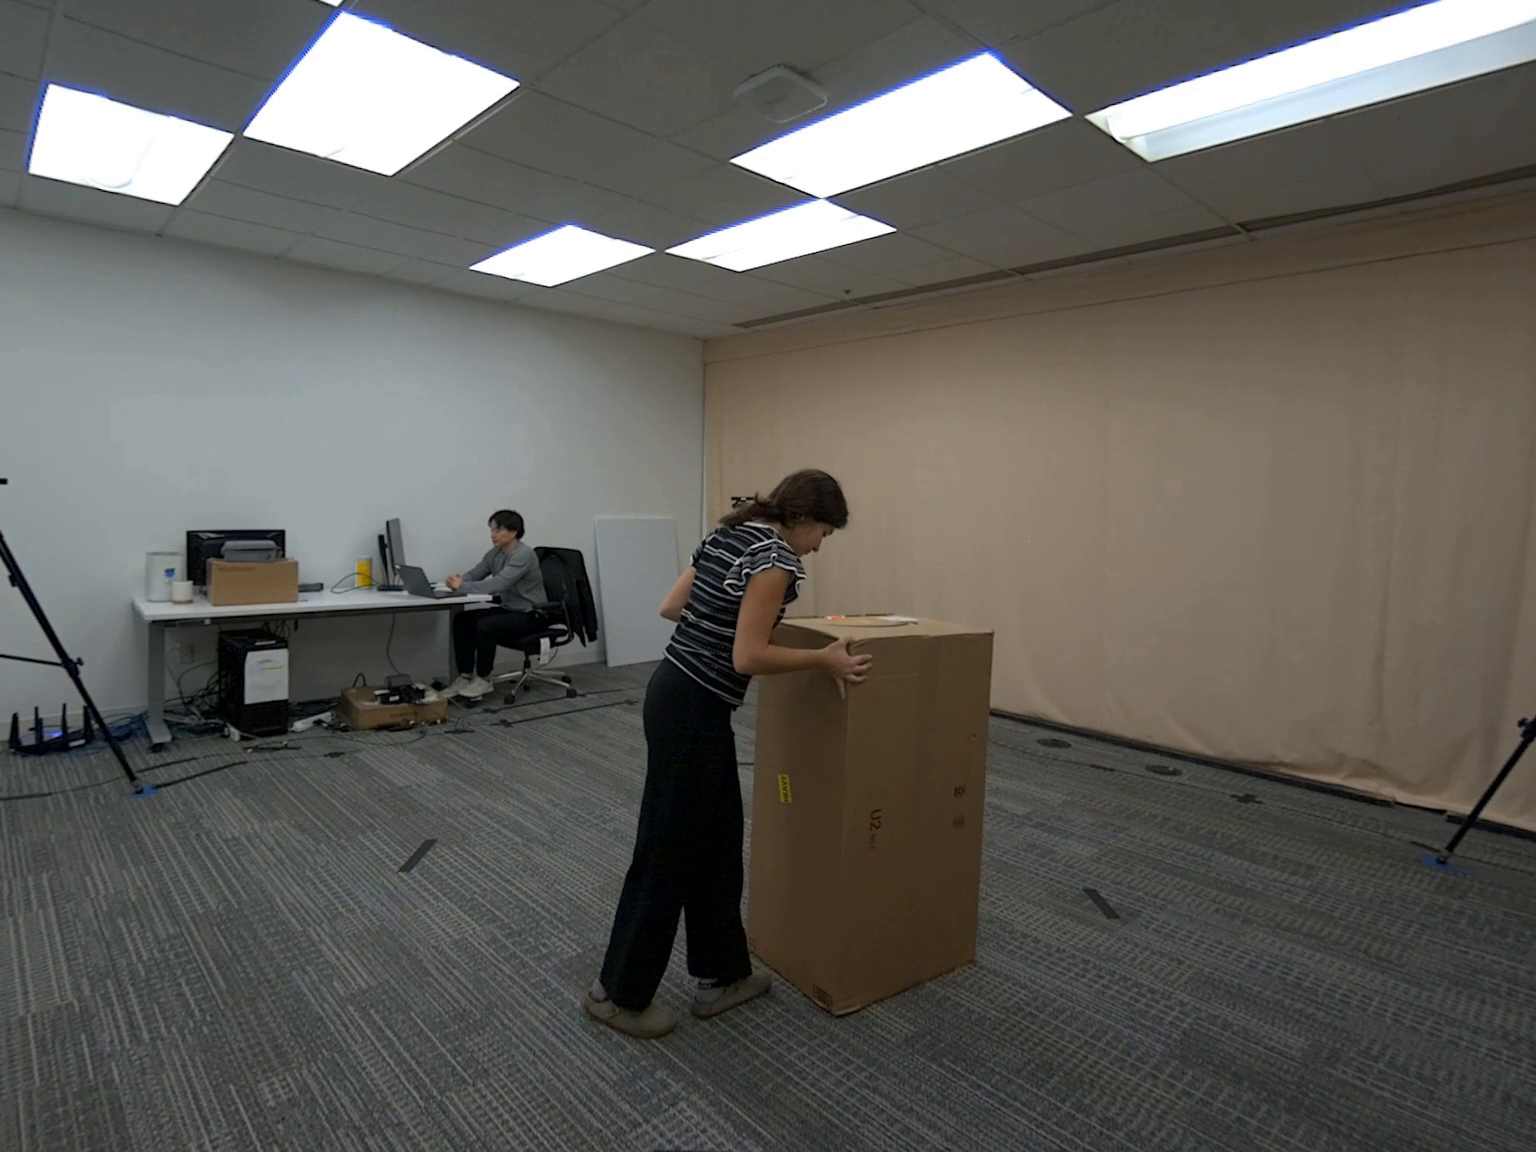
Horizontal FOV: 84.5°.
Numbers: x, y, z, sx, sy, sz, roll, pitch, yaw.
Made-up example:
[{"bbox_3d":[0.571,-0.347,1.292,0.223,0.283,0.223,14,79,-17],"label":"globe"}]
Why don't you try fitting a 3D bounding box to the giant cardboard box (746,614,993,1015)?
[{"bbox_3d":[0.303,0.658,2.571,0.565,1.024,0.436,0,3,-35],"label":"giant cardboard box"}]
